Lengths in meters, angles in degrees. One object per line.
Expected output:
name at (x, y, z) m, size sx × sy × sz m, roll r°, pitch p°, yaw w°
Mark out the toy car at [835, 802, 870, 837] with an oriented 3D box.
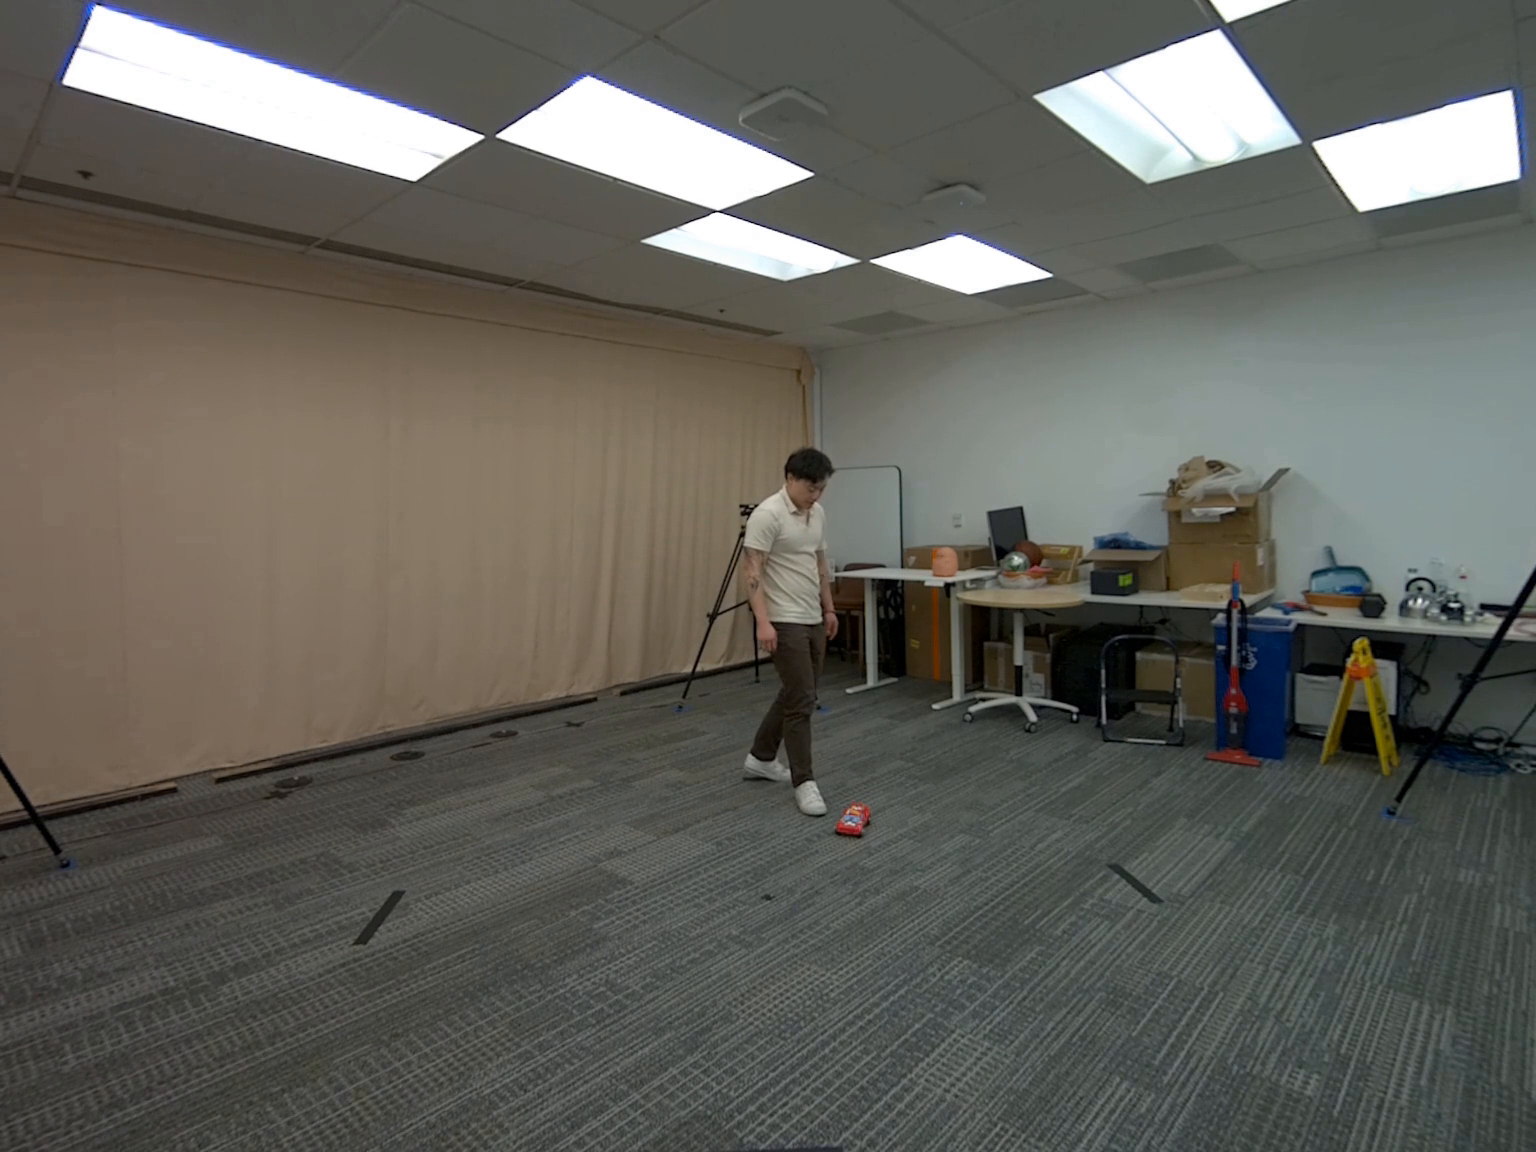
toy car at (0.374, 1.047, 3.615) m, size 0.133 × 0.082 × 0.252 m, roll 0°, pitch 15°, yaw 19°
